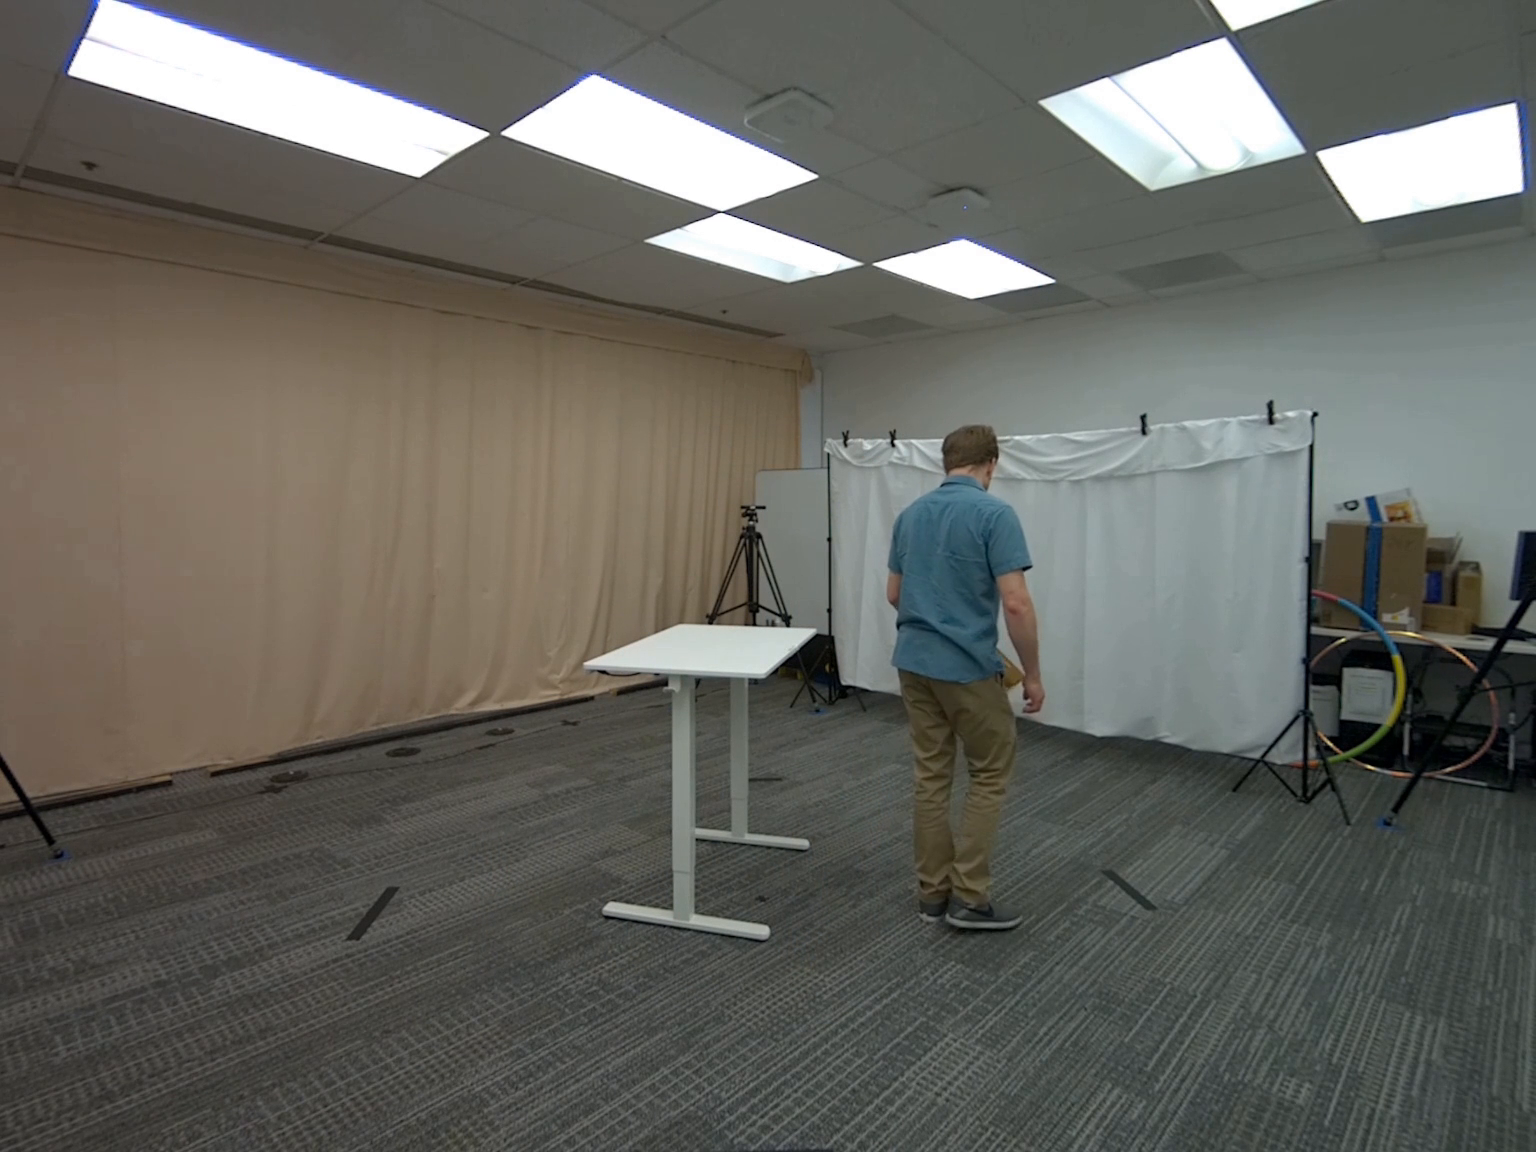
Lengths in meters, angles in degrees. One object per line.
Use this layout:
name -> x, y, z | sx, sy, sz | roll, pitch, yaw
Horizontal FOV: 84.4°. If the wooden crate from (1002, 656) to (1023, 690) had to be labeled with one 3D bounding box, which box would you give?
wooden crate -> 0.804, 0.331, 3.182 | 0.272, 0.329, 0.299 | -42, -11, -7
